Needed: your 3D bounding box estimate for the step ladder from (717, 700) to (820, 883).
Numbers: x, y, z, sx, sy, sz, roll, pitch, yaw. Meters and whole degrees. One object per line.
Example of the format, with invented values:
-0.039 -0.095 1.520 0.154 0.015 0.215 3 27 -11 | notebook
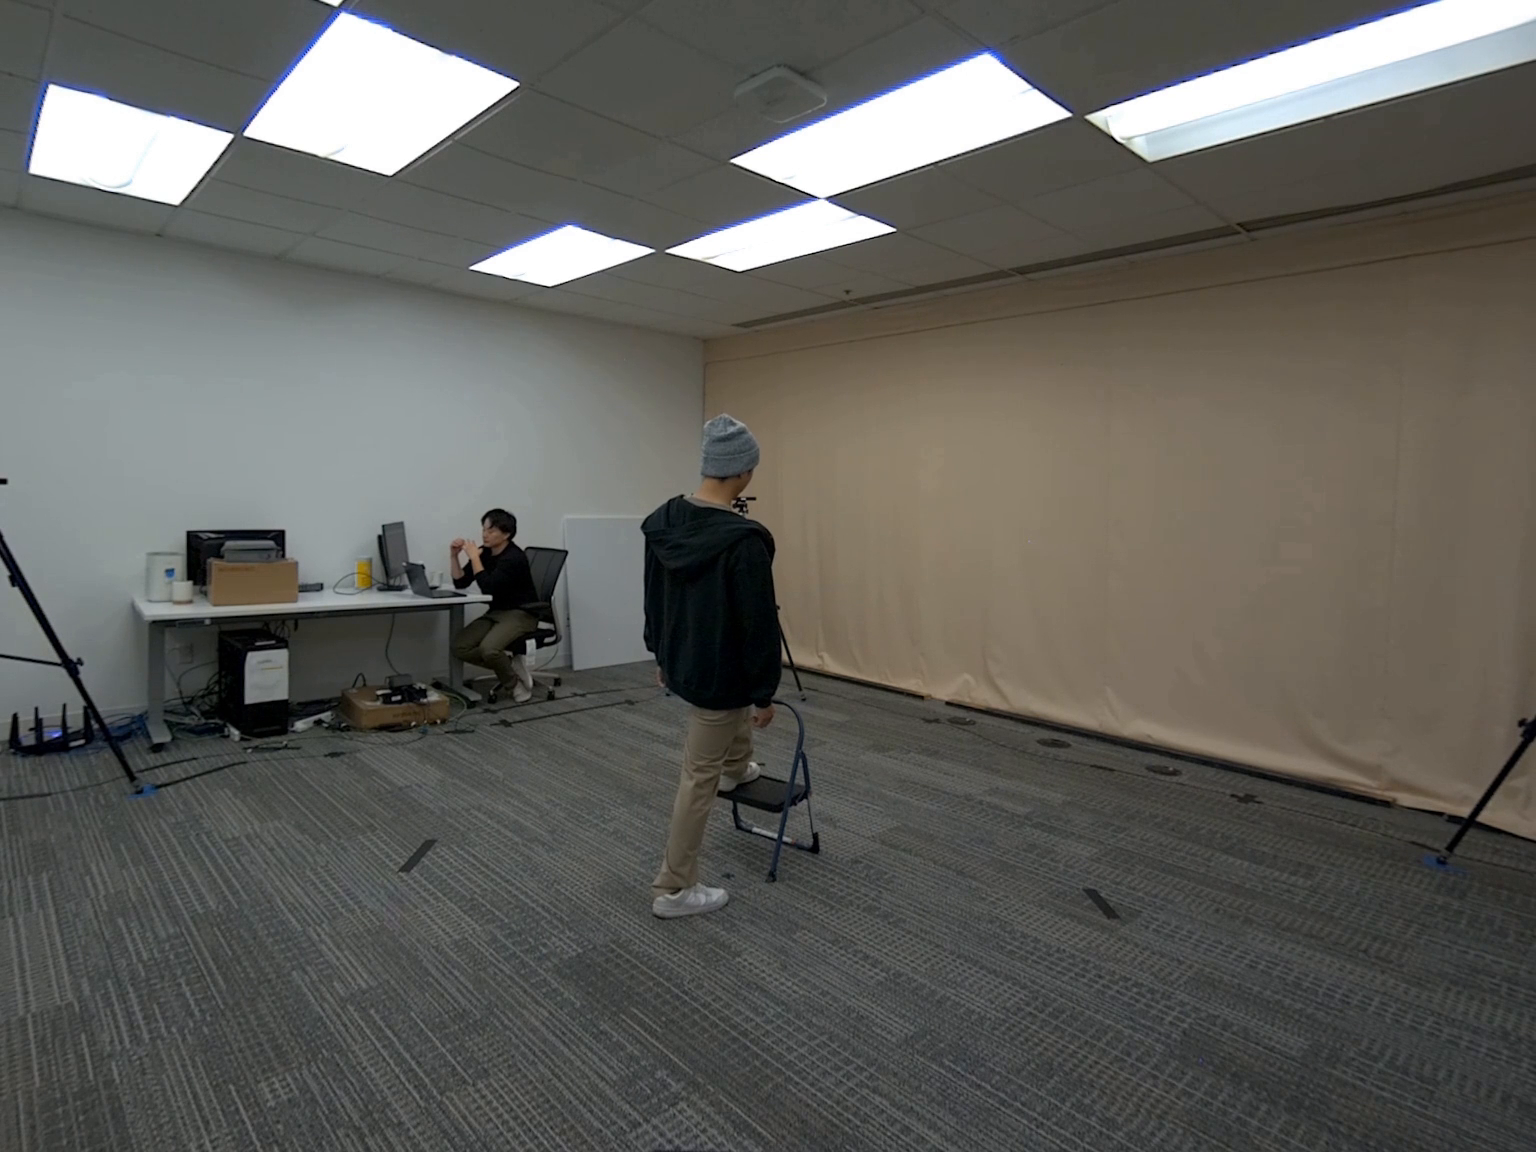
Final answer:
-0.054 0.791 3.307 0.441 0.605 0.341 4 4 37 | step ladder
